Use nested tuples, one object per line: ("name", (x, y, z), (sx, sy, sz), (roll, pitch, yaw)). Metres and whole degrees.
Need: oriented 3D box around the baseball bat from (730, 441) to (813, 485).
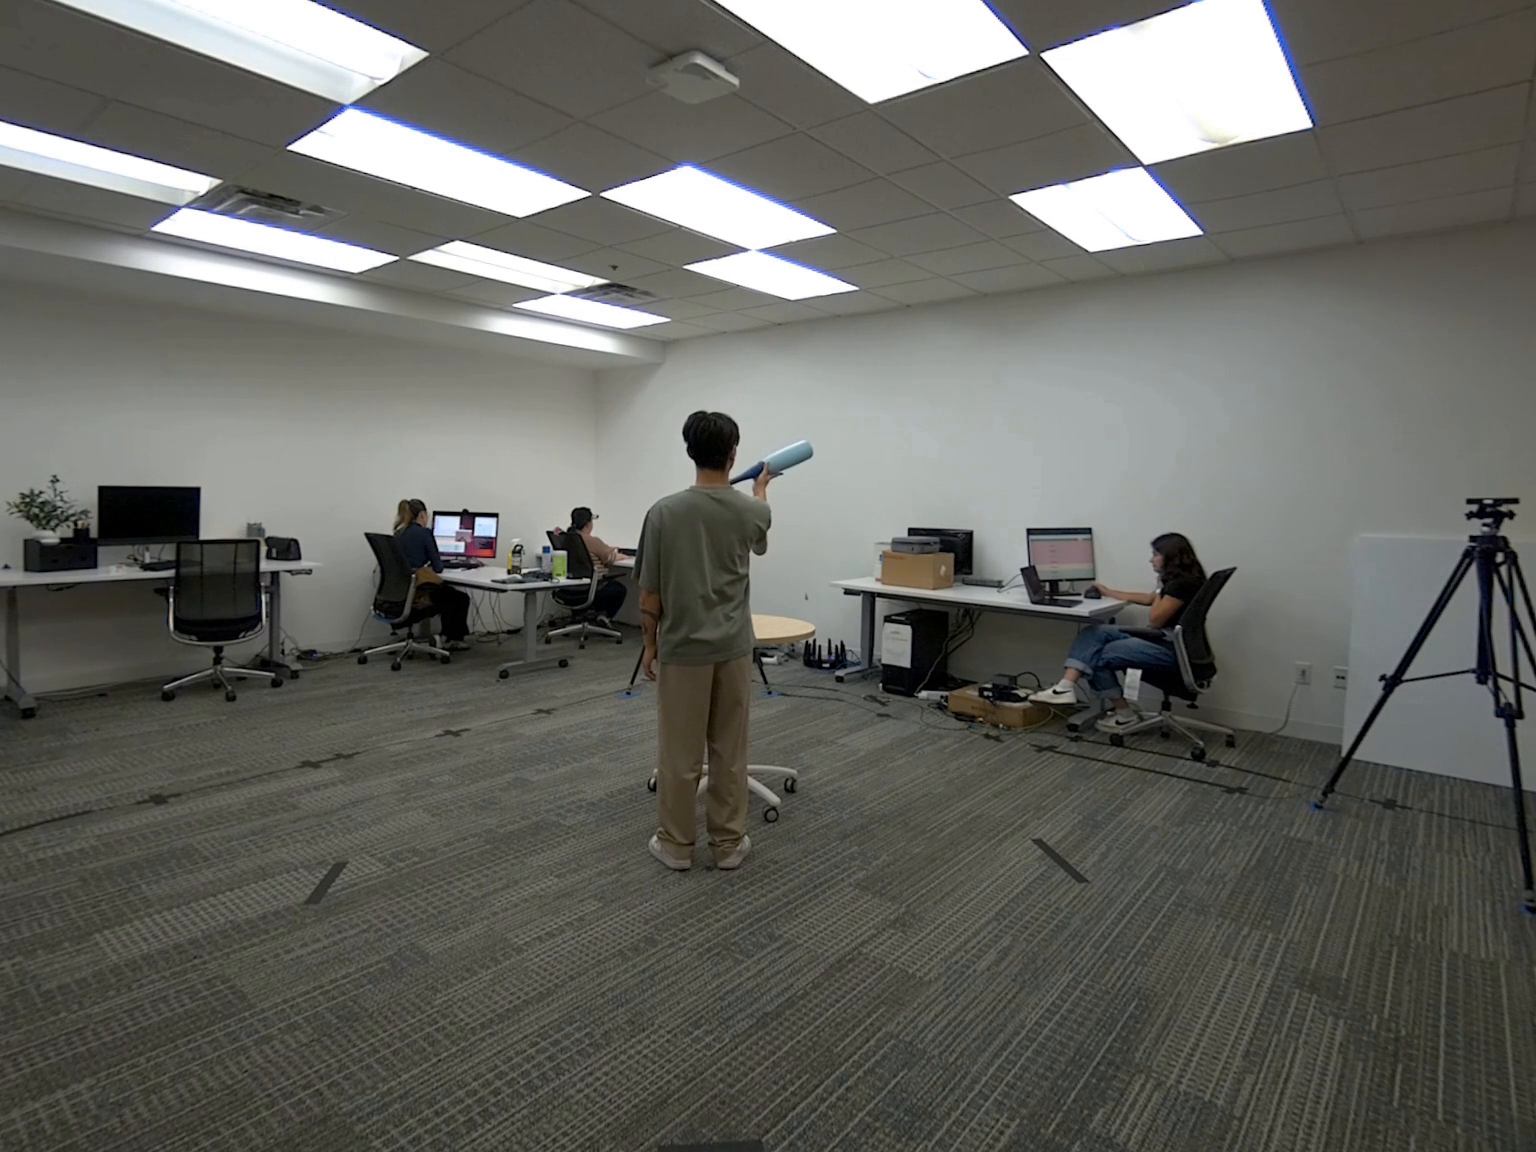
("baseball bat", (-0.047, -0.462, 3.663), (0.537, 0.087, 0.091), (-27, 15, -22))
